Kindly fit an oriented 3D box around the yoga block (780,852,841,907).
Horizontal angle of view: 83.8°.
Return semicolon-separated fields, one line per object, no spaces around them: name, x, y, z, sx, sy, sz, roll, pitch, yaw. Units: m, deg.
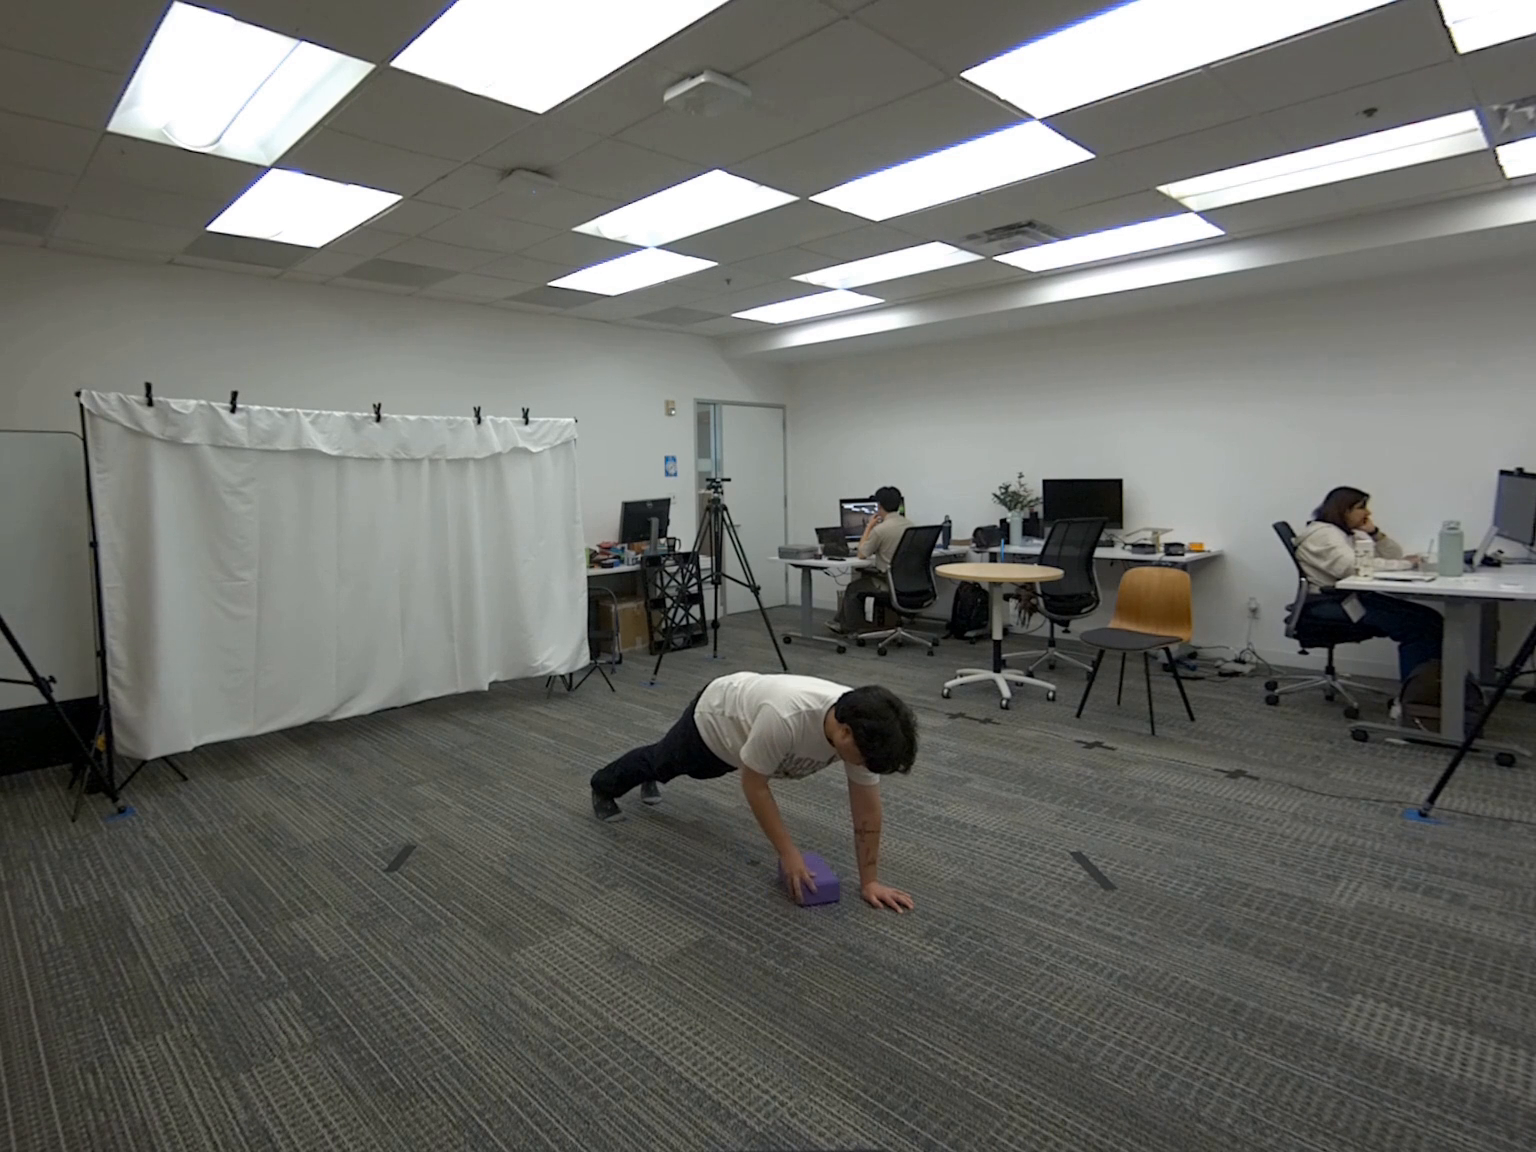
yoga block;0.143;1.025;2.895;0.147;0.076;0.234;-1;6;-17
